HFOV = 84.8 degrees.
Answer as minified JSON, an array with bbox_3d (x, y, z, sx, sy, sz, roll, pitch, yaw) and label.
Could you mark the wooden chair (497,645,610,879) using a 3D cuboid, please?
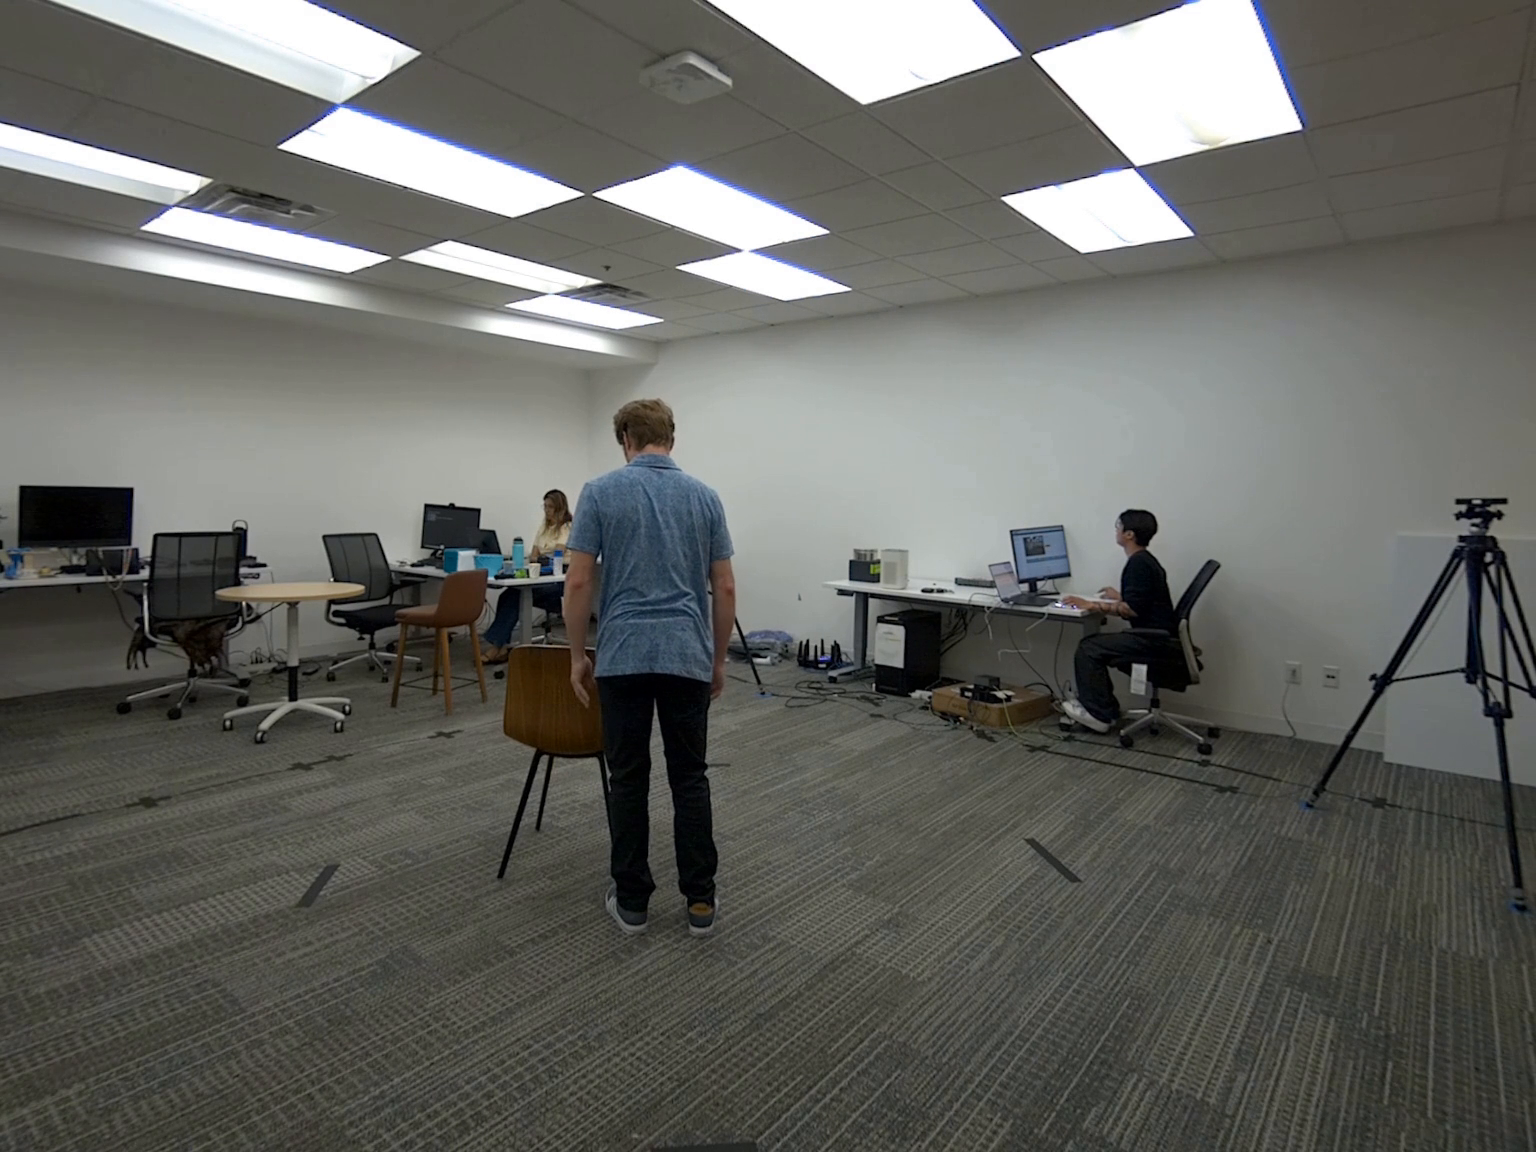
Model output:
[{"bbox_3d":[-0.726,0.626,3.188,0.481,0.872,0.524,1,7,4],"label":"wooden chair"}]
